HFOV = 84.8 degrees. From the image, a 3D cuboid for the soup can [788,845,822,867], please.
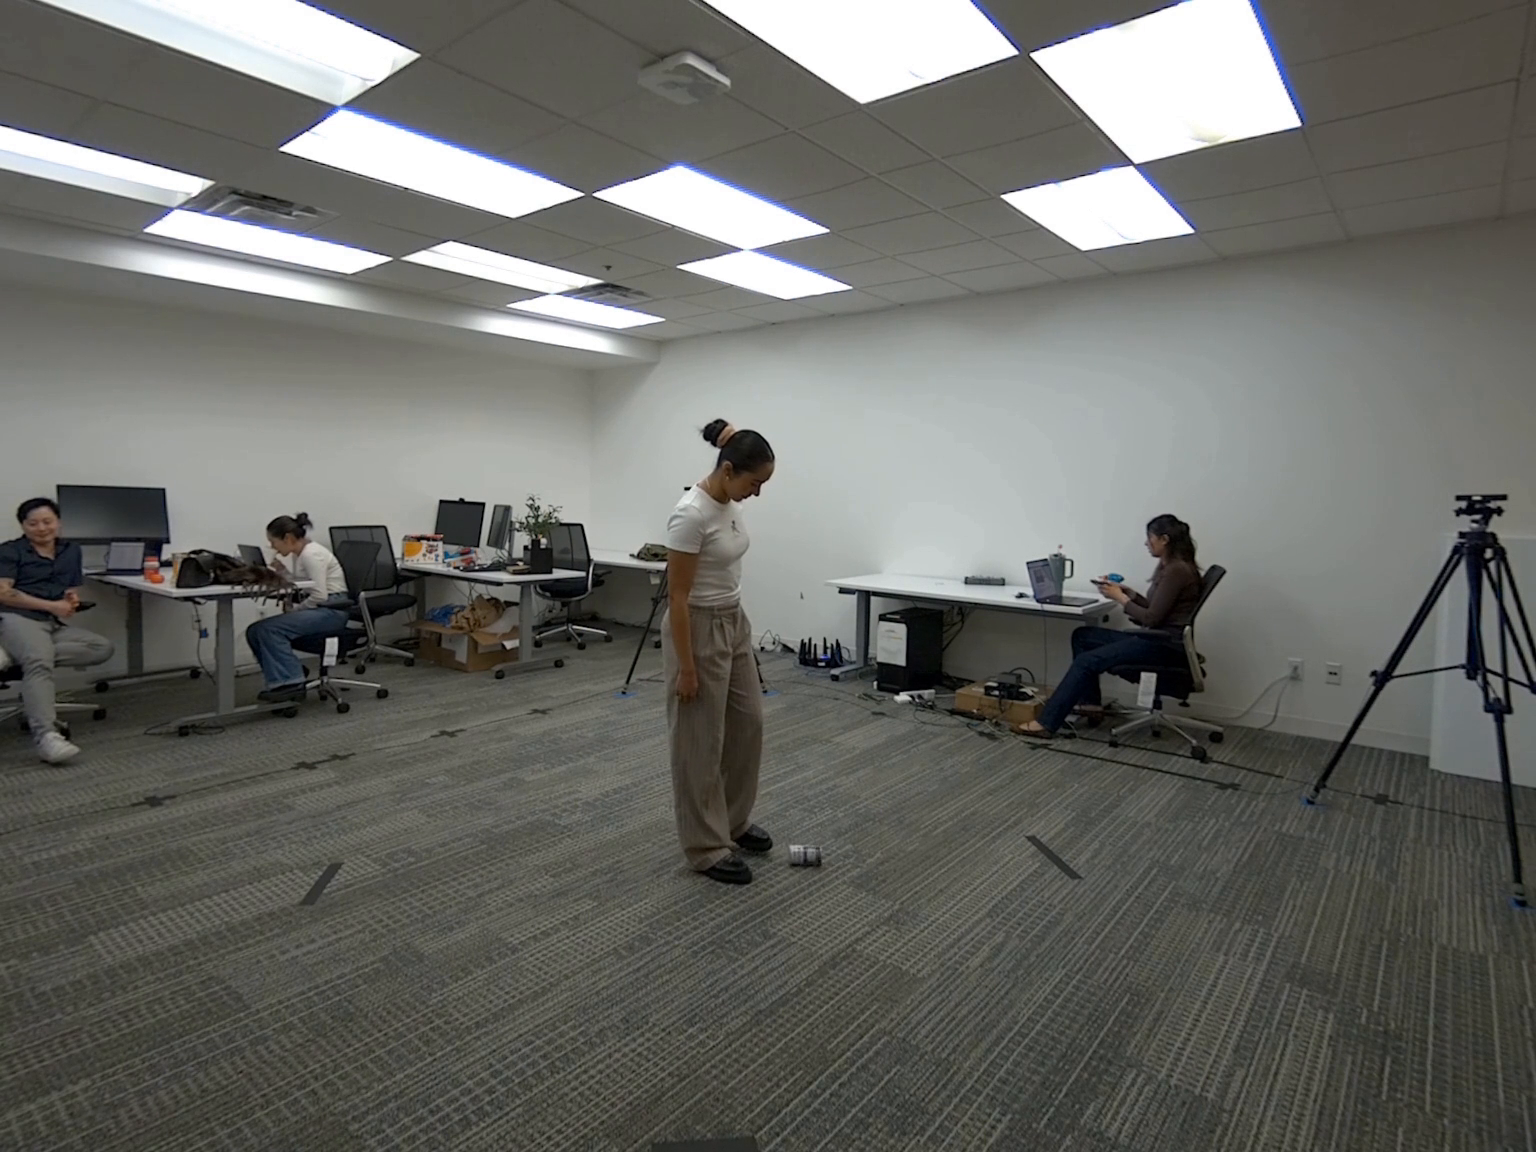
[{"bbox_3d":[0.135,1.034,3.152,0.120,0.067,0.068,4,4,-7],"label":"soup can"}]
